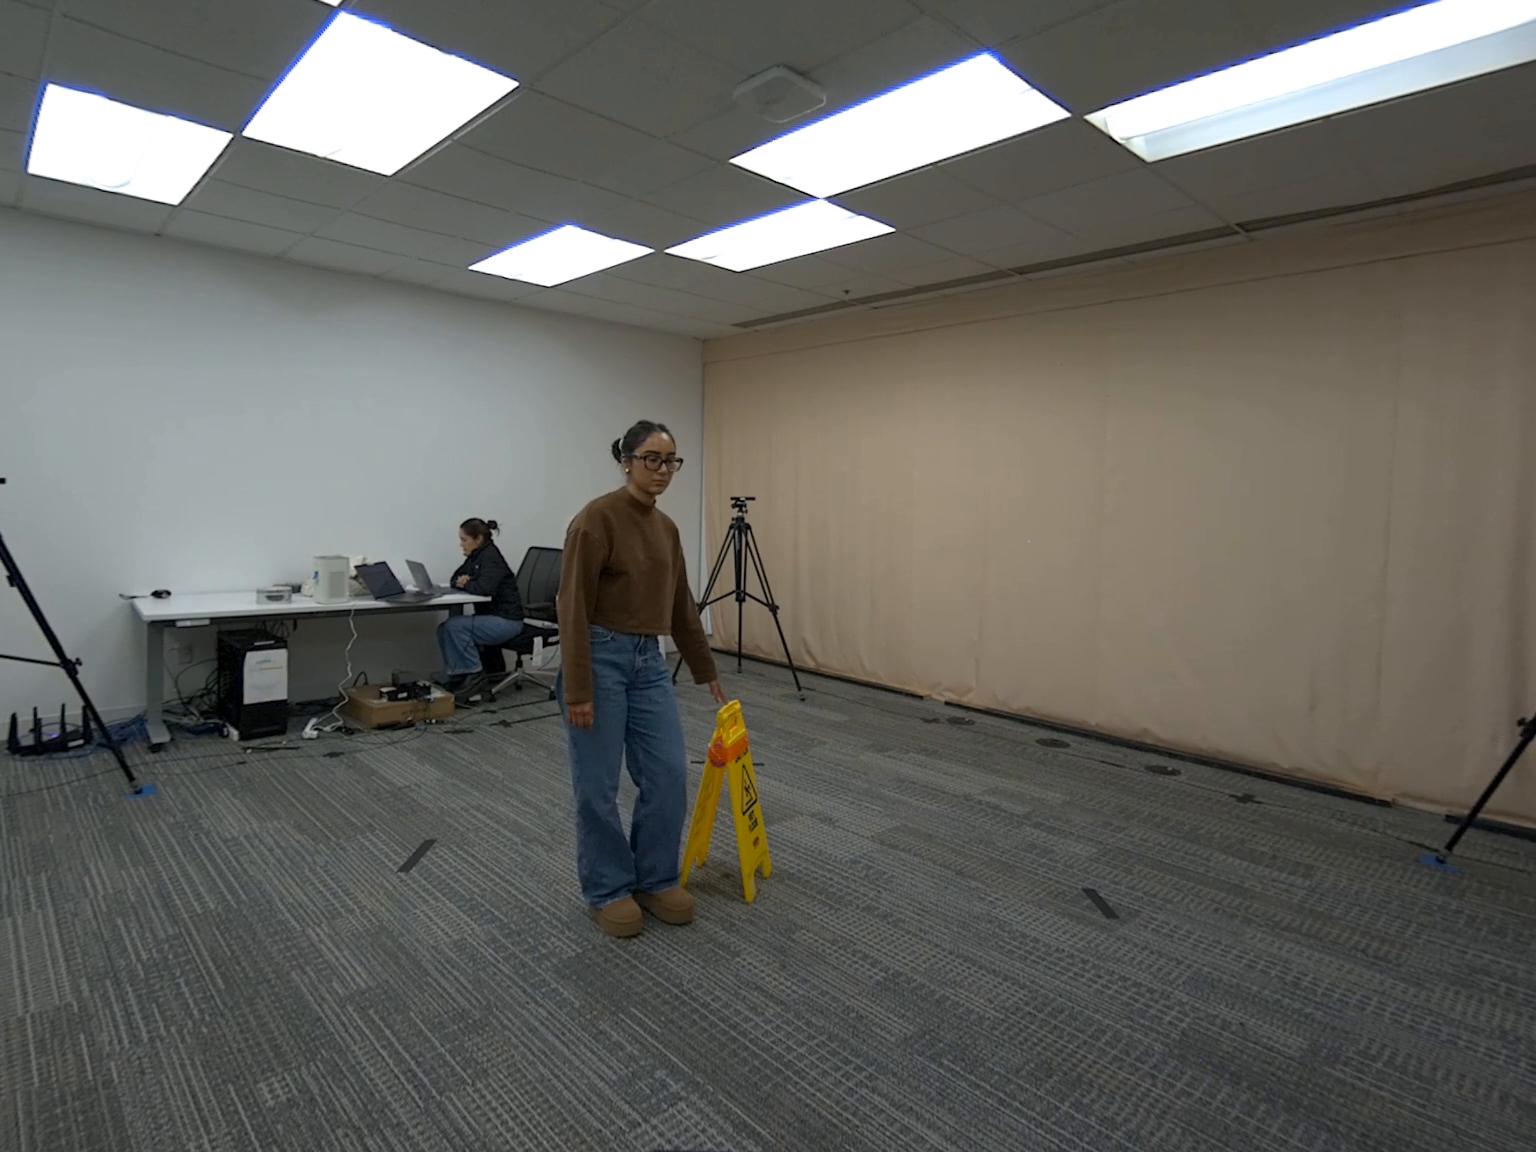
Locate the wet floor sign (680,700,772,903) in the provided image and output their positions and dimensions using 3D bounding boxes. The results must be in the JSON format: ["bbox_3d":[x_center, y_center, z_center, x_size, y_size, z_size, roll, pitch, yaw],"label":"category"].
[{"bbox_3d":[-0.150,0.787,3.042,0.294,0.644,0.279,3,5,16],"label":"wet floor sign"}]
